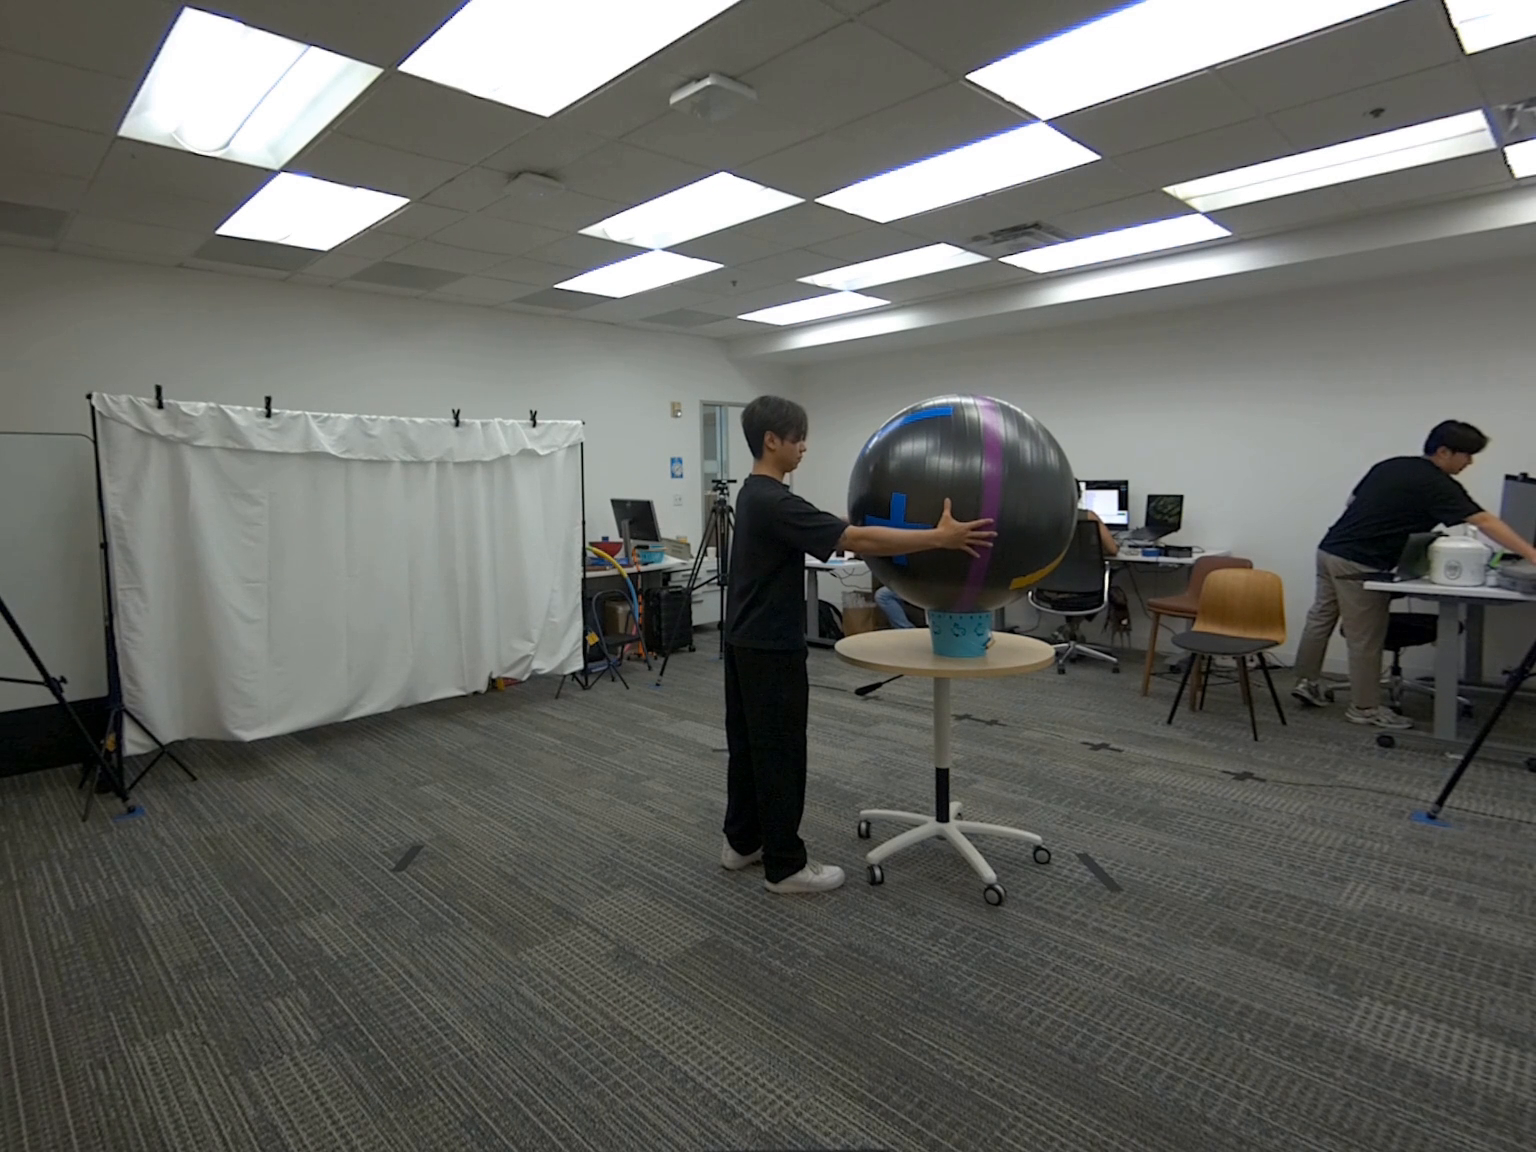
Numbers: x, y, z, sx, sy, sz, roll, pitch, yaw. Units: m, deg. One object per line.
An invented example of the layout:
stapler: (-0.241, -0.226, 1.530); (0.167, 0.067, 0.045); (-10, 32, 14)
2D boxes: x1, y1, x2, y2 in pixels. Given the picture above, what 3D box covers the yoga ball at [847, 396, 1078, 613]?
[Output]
yoga ball: (0.668, -0.244, 2.959); (0.757, 0.755, 0.762); (-1, 5, -2)
